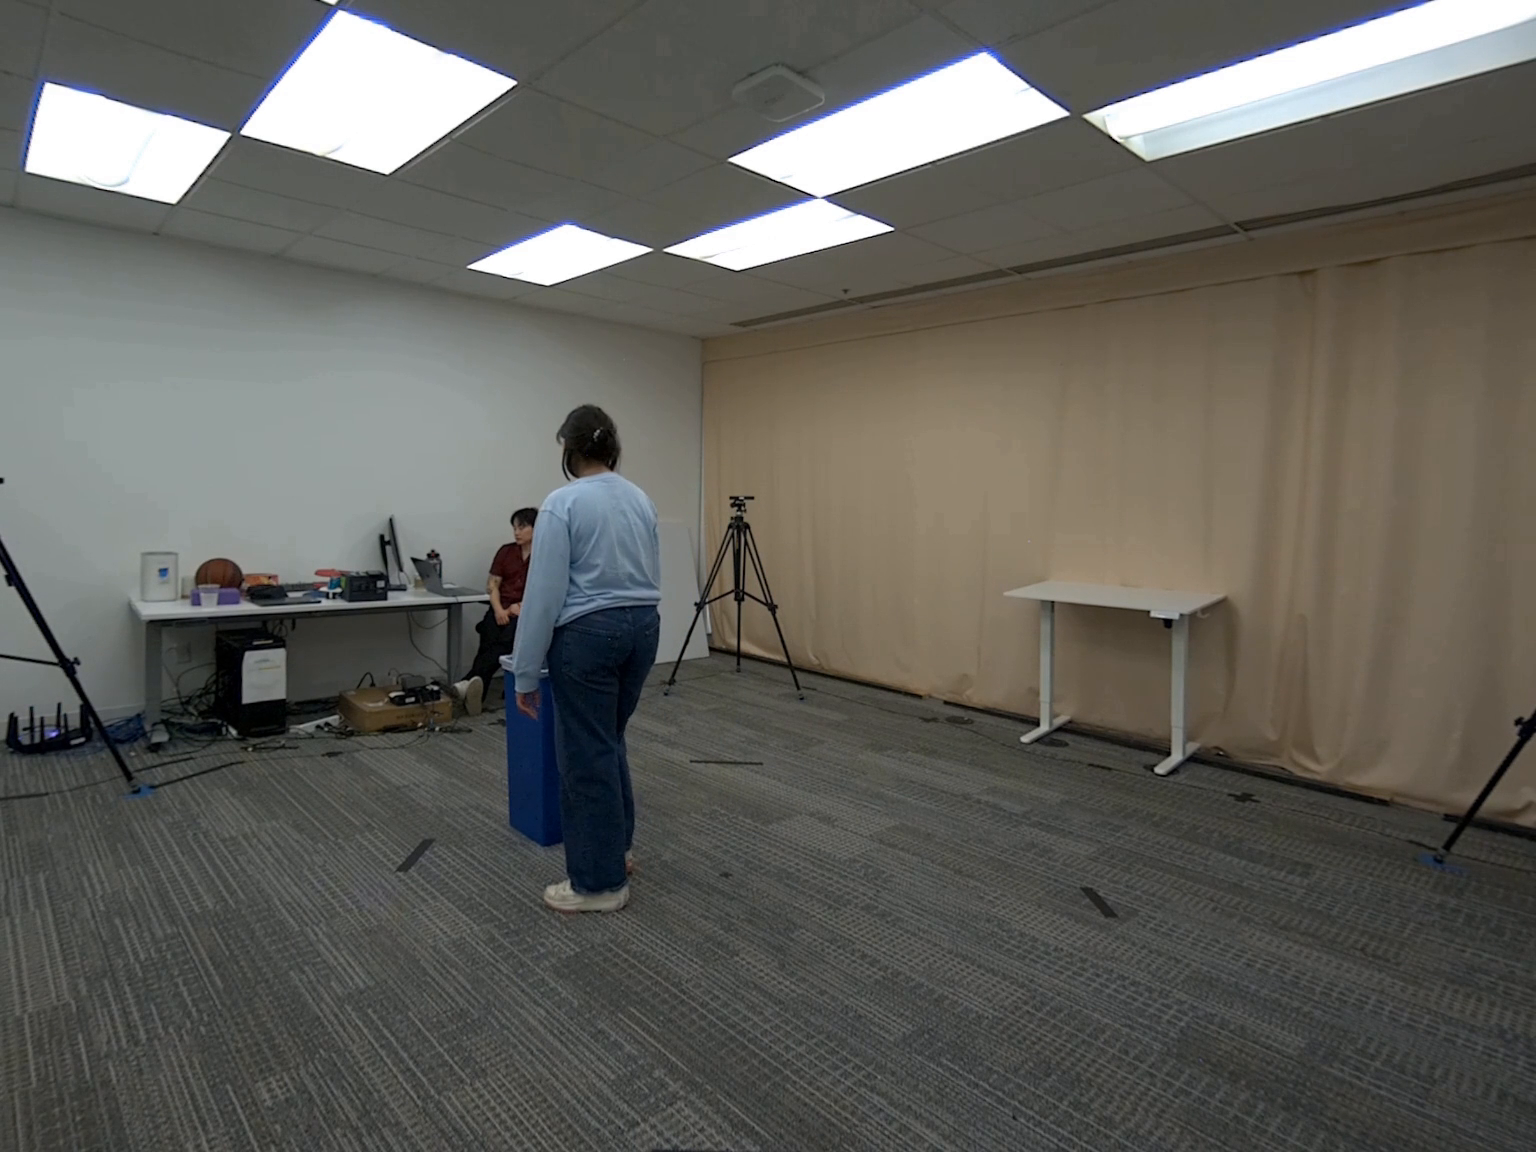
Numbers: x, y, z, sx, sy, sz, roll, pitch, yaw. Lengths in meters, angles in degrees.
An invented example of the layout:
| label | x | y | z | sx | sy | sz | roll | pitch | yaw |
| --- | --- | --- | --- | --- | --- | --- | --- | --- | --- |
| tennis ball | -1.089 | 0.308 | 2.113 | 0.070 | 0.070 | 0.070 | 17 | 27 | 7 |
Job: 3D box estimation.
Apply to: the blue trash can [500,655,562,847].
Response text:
| label | x | y | z | sx | sy | sz | roll | pitch | yaw |
| --- | --- | --- | --- | --- | --- | --- | --- | --- | --- |
| blue trash can | -0.880 | 0.696 | 3.496 | 0.365 | 0.712 | 0.388 | -1 | 4 | -44 |
